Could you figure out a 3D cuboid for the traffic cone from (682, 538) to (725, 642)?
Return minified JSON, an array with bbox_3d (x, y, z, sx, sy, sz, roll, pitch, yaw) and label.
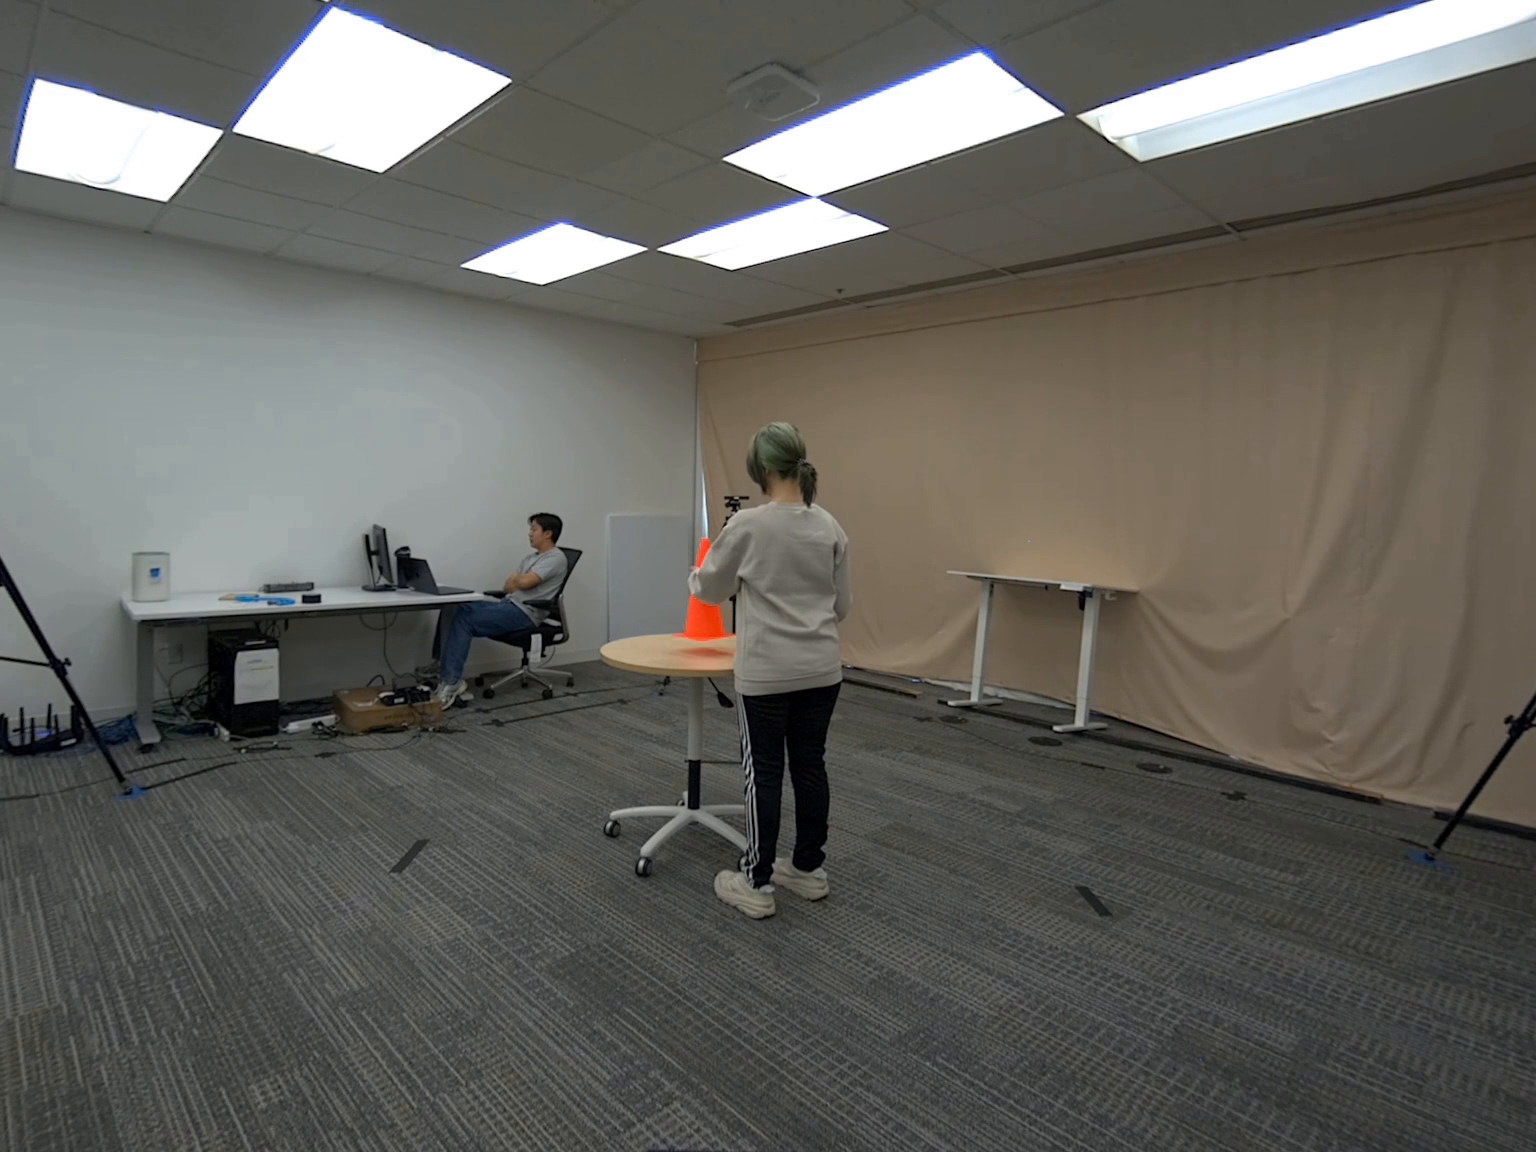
[{"bbox_3d":[-0.255,0.040,3.288,0.208,0.383,0.200,5,4,36],"label":"traffic cone"}]
